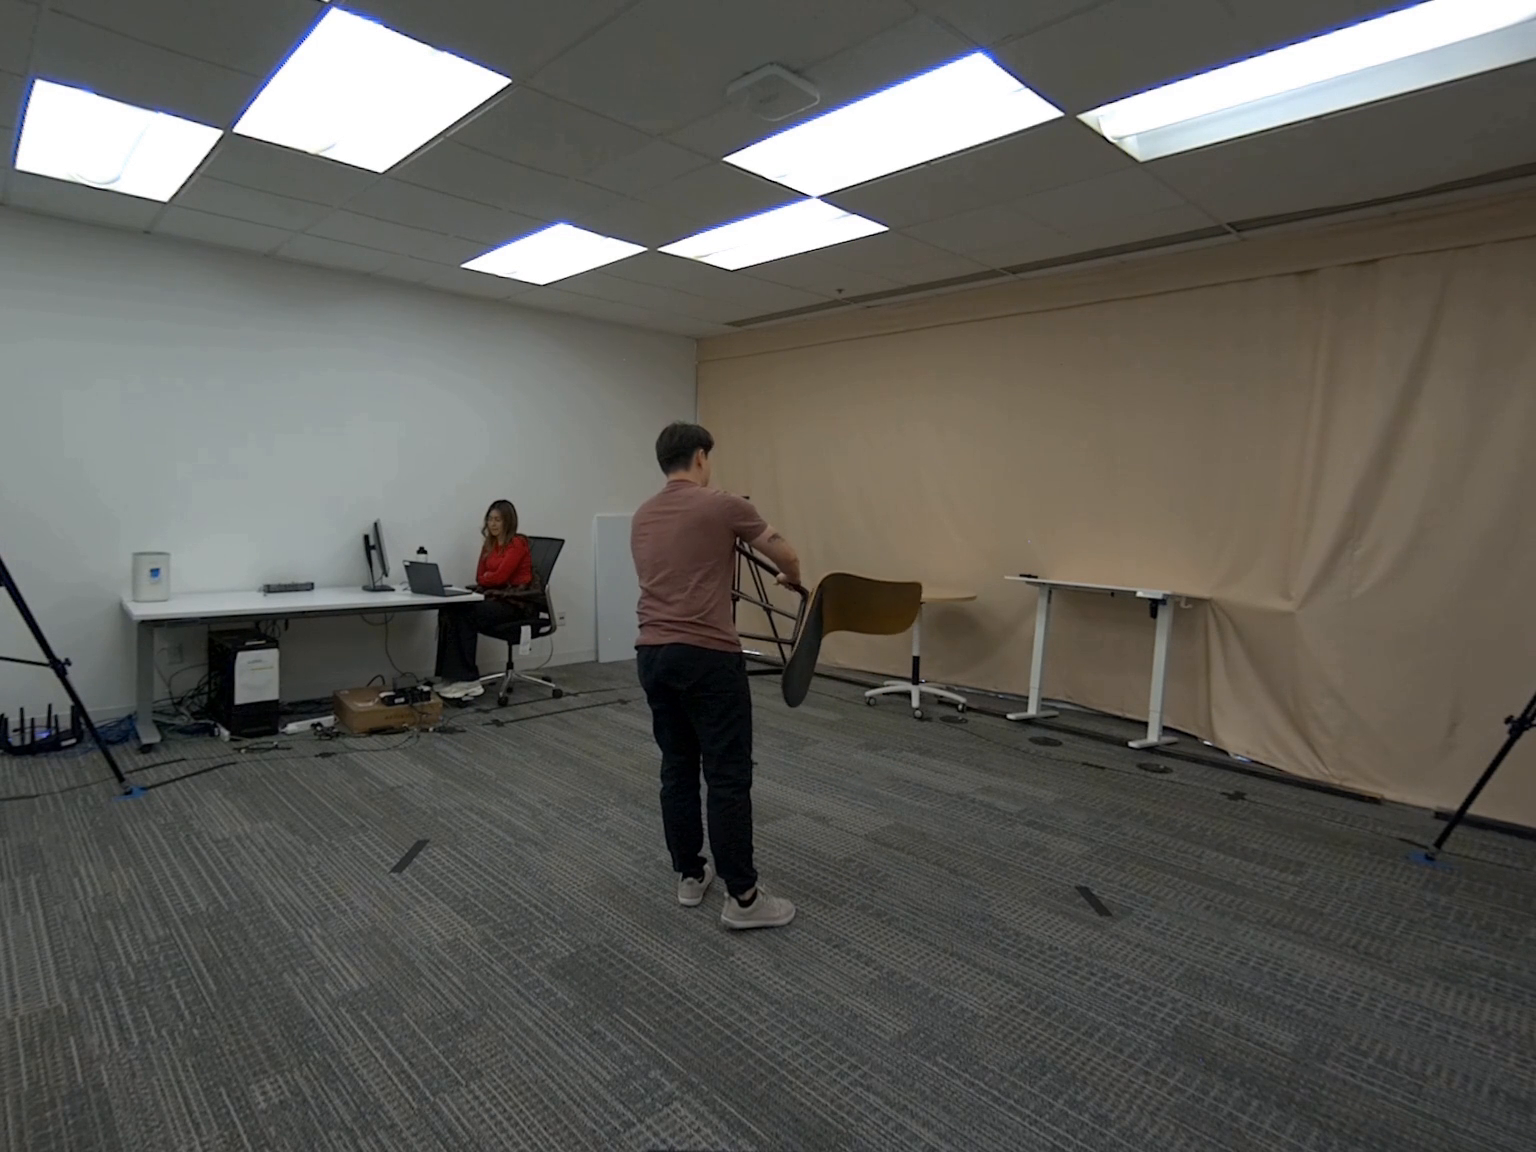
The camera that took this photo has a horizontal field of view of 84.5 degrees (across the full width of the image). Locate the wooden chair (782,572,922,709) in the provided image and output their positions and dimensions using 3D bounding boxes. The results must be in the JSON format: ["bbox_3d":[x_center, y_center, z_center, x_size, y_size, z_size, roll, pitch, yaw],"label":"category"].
[{"bbox_3d":[0.118,0.223,3.289,0.887,0.530,0.467,10,-33,11],"label":"wooden chair"}]
